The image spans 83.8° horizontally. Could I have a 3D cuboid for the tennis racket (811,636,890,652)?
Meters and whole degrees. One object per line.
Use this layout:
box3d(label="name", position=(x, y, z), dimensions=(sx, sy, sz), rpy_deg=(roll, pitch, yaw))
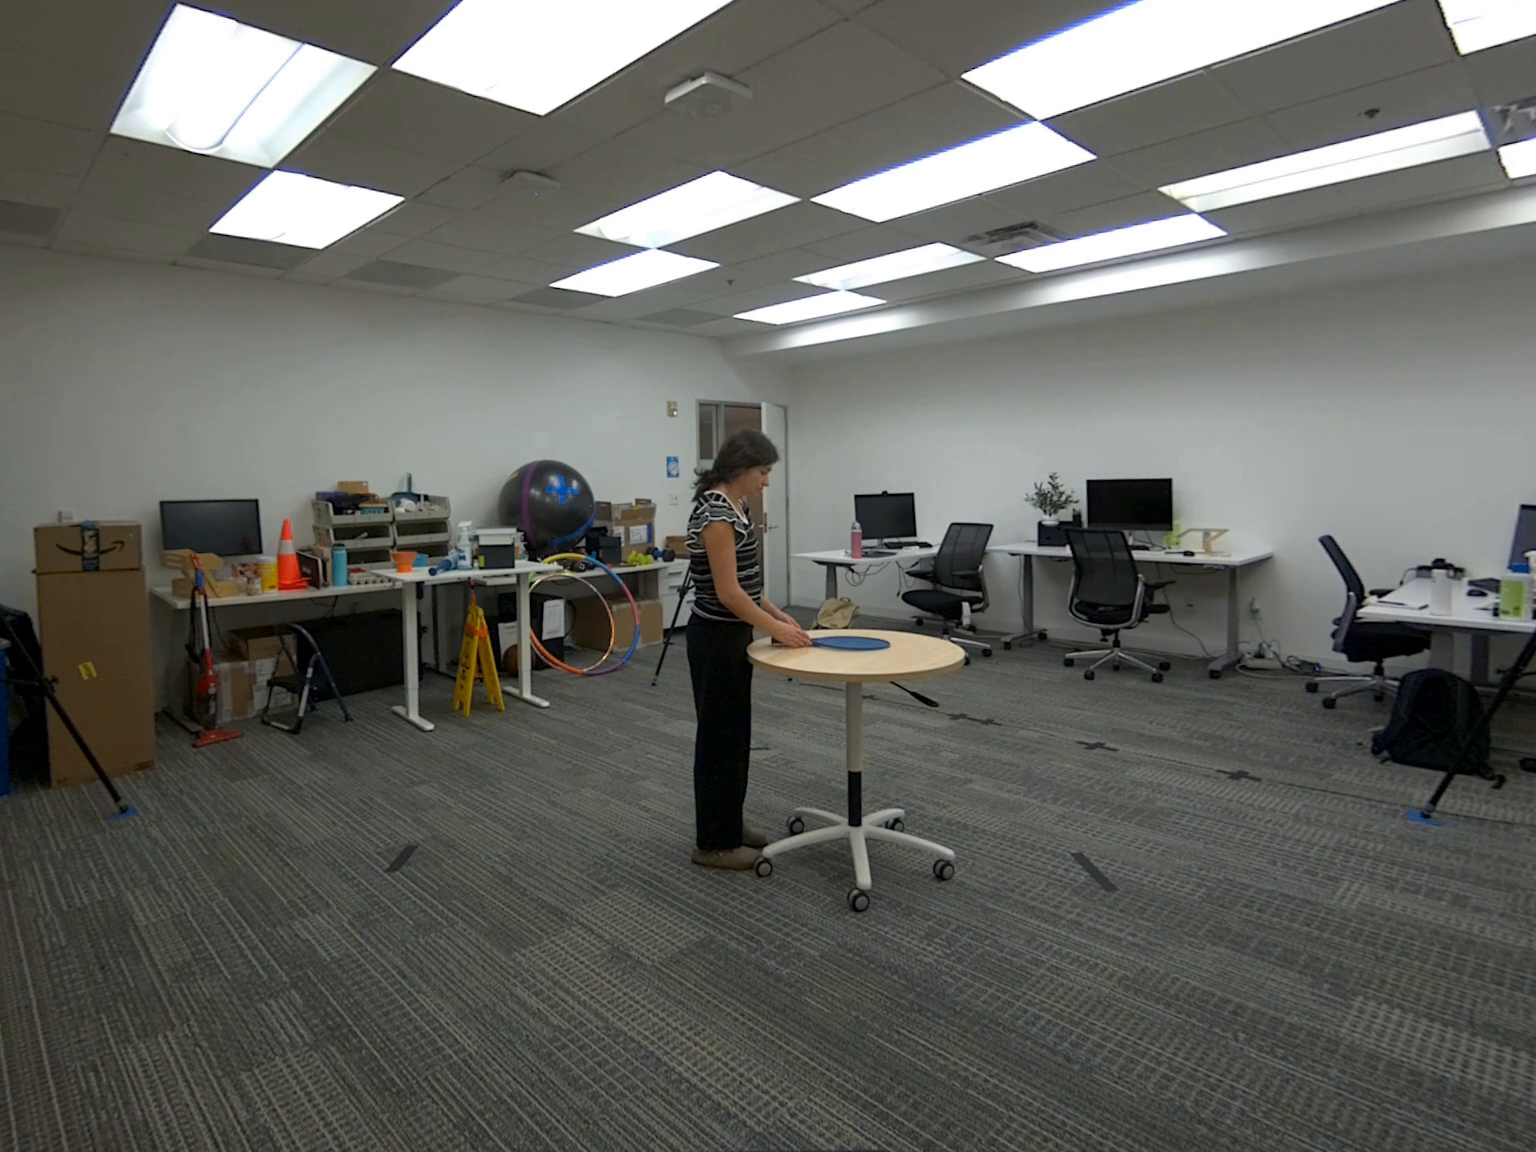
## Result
box3d(label="tennis racket", position=(0.228, 0.240, 3.133), dimensions=(0.433, 0.031, 0.214), rpy_deg=(1, 7, 1))
